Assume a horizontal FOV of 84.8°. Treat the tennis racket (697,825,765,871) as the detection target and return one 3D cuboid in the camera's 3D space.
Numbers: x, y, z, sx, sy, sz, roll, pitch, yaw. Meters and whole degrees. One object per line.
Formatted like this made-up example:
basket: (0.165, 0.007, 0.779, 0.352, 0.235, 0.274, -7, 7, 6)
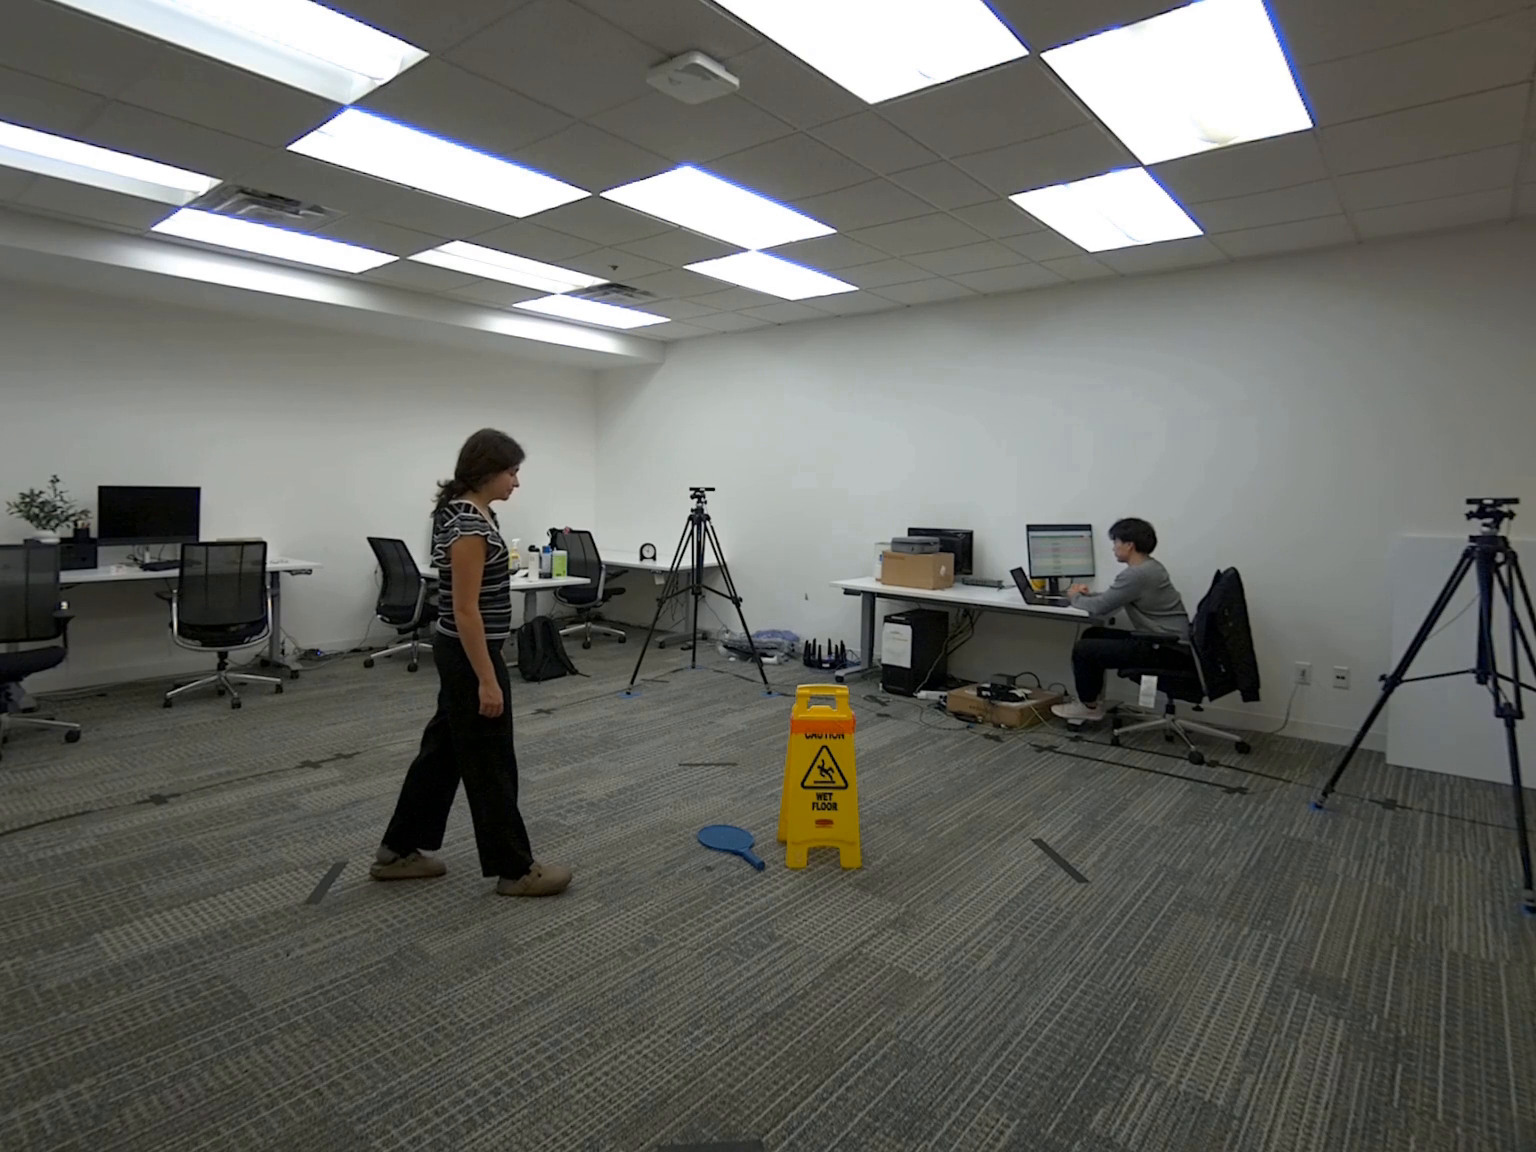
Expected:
tennis racket: (-0.141, 1.029, 3.291, 0.208, 0.032, 0.444, -1, 4, -26)
